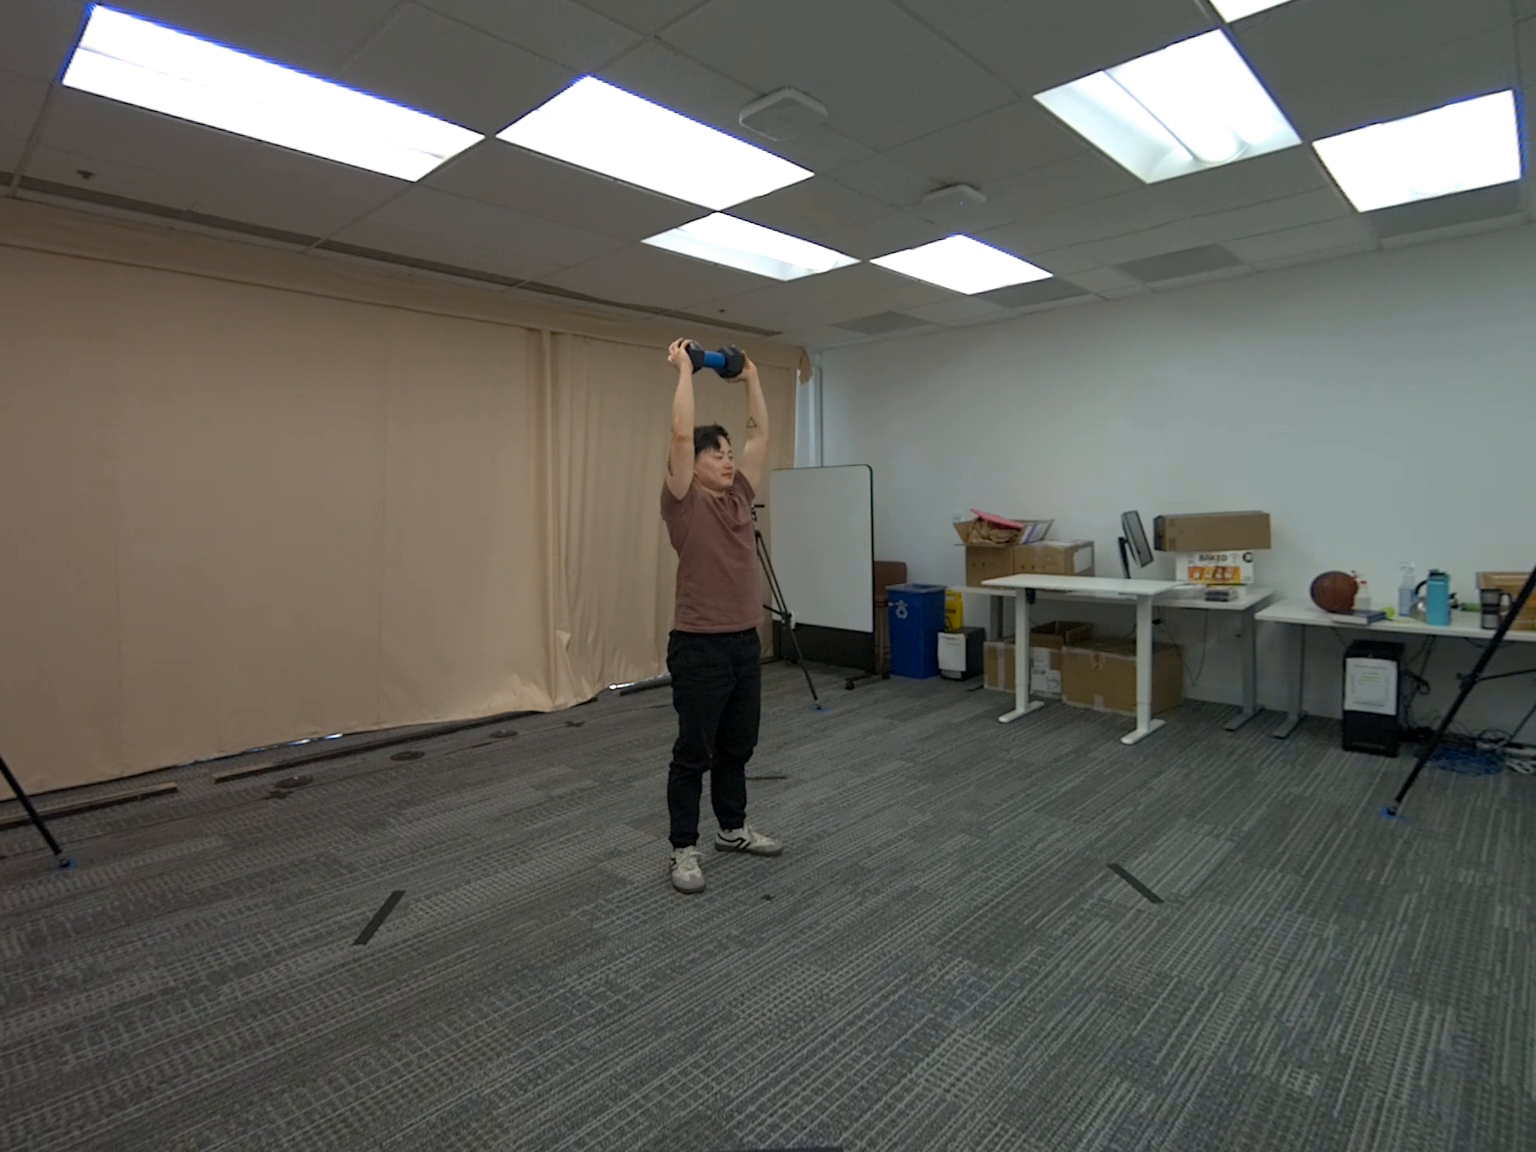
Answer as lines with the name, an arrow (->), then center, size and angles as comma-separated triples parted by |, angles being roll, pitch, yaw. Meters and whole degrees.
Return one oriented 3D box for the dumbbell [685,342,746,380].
dumbbell -> -0.216, -0.809, 3.164 | 0.285, 0.109, 0.126 | -9, 49, -46
